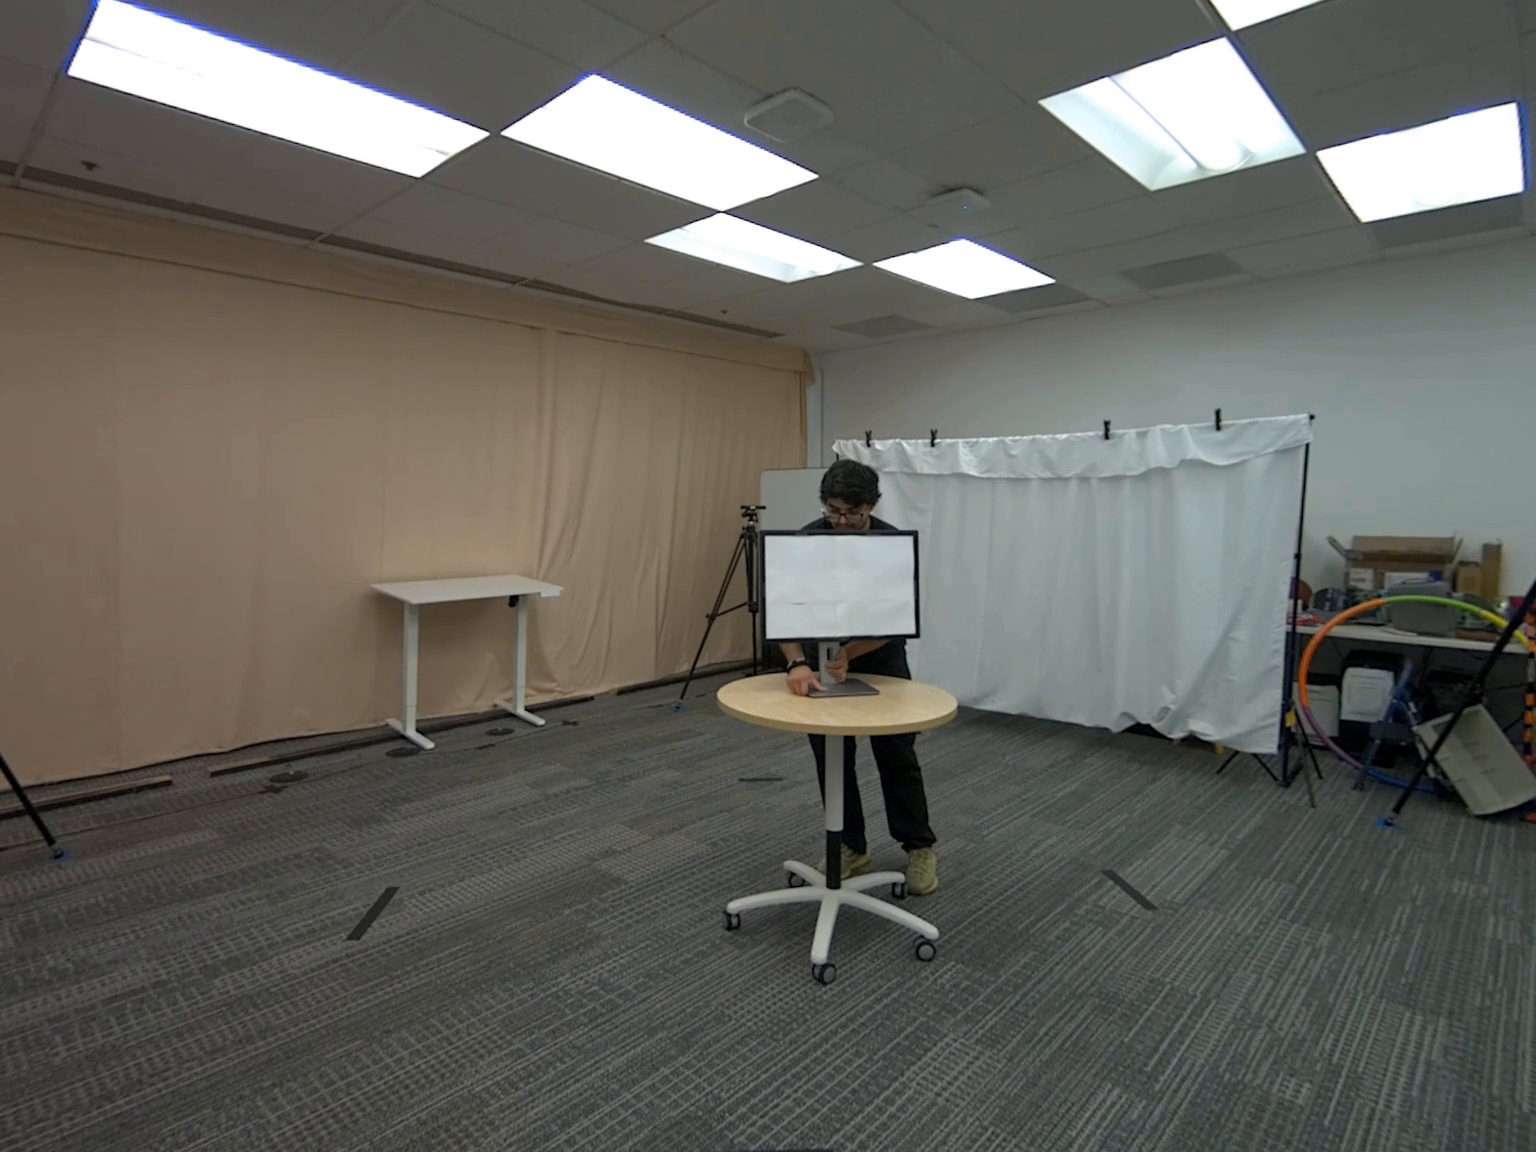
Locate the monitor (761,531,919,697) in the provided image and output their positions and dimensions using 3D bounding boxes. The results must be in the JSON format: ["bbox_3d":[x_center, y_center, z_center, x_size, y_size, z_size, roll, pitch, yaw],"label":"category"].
[{"bbox_3d":[0.219,0.117,2.823,0.556,0.553,0.213,-1,2,-15],"label":"monitor"}]
